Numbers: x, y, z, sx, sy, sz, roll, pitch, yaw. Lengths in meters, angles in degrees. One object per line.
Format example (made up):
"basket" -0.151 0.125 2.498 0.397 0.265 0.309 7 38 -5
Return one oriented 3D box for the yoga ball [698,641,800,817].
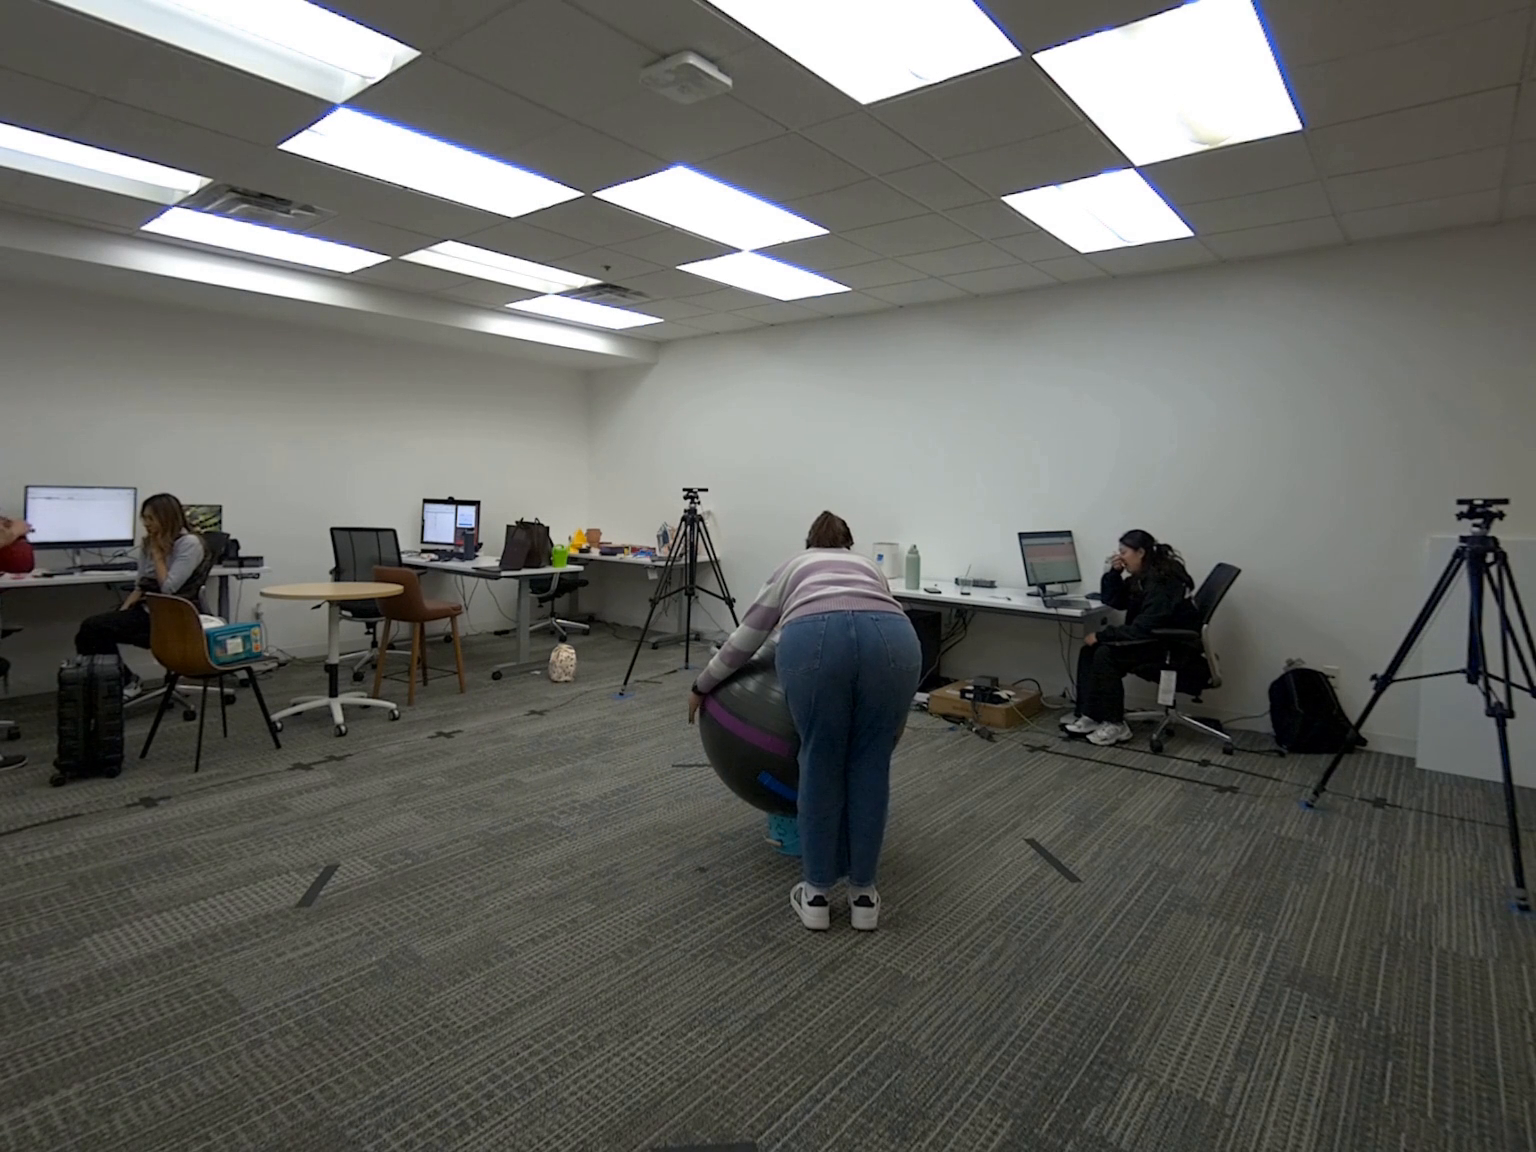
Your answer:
"yoga ball" 0.101 0.542 3.316 0.757 0.756 0.762 1 4 -2
